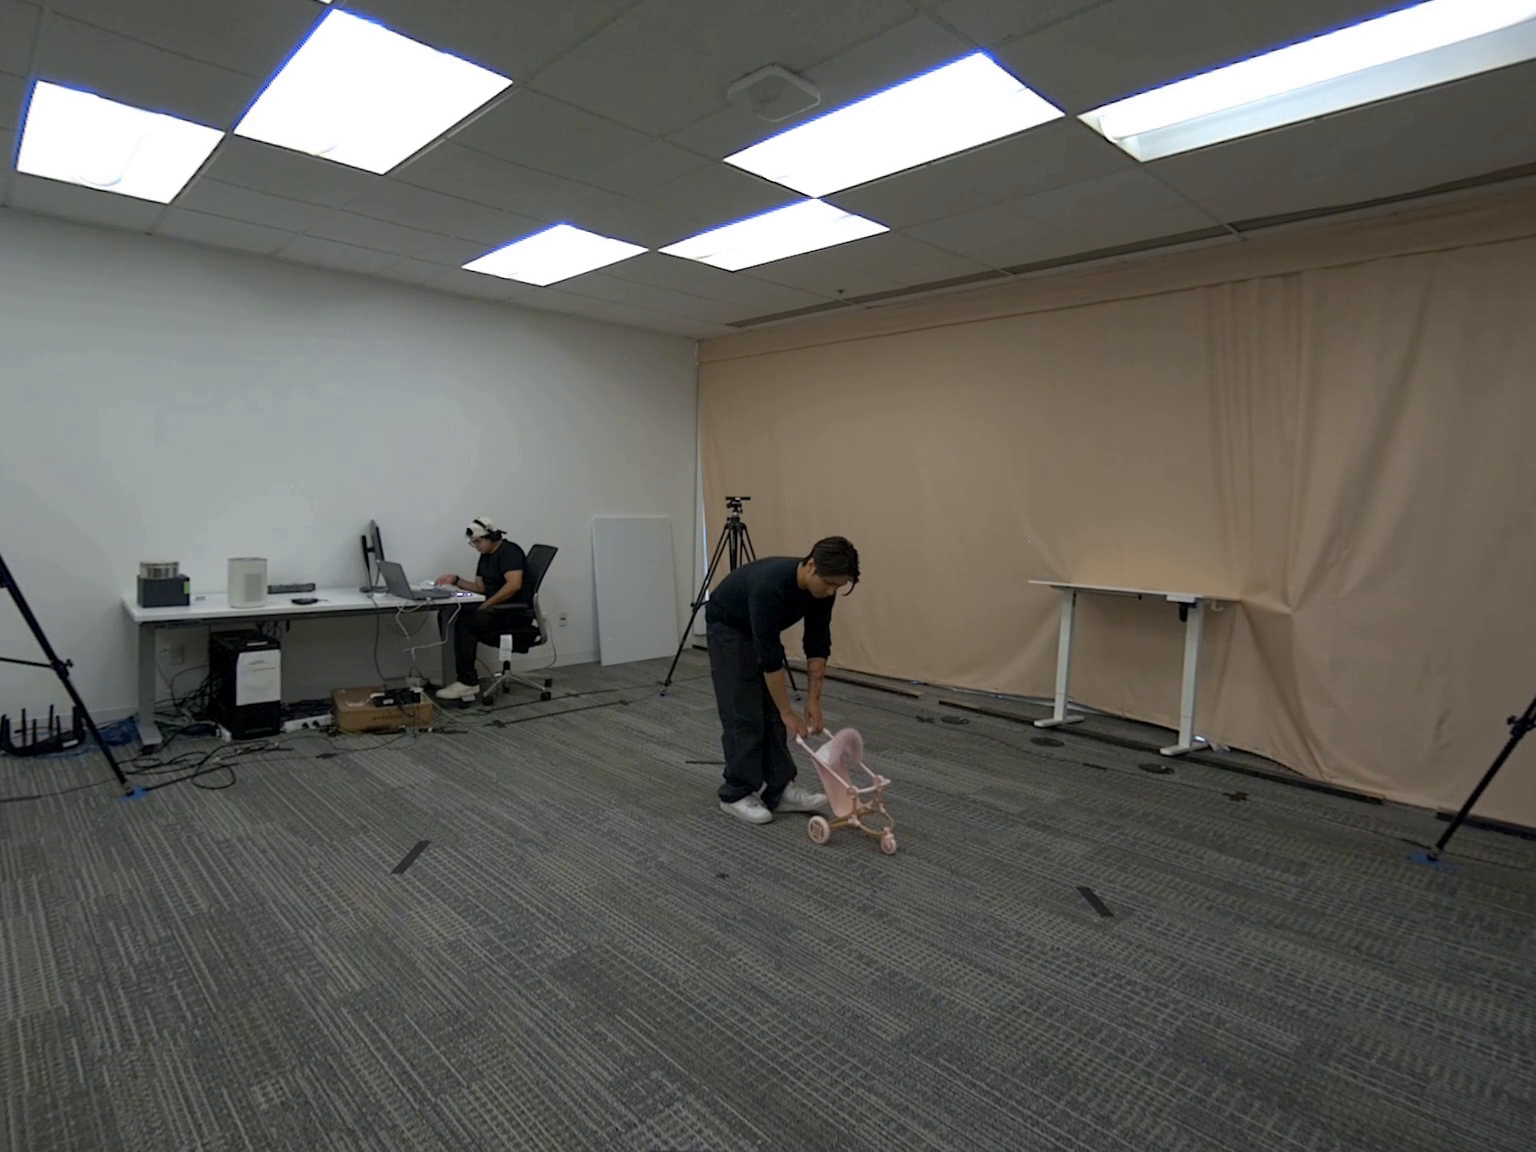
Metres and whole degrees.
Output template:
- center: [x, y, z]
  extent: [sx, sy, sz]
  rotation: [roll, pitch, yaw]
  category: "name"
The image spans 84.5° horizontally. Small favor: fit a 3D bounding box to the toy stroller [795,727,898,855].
- center: [0.328, 0.866, 3.460]
  extent: [0.275, 0.539, 0.346]
  rotation: [-2, -12, -44]
  category: "toy stroller"
